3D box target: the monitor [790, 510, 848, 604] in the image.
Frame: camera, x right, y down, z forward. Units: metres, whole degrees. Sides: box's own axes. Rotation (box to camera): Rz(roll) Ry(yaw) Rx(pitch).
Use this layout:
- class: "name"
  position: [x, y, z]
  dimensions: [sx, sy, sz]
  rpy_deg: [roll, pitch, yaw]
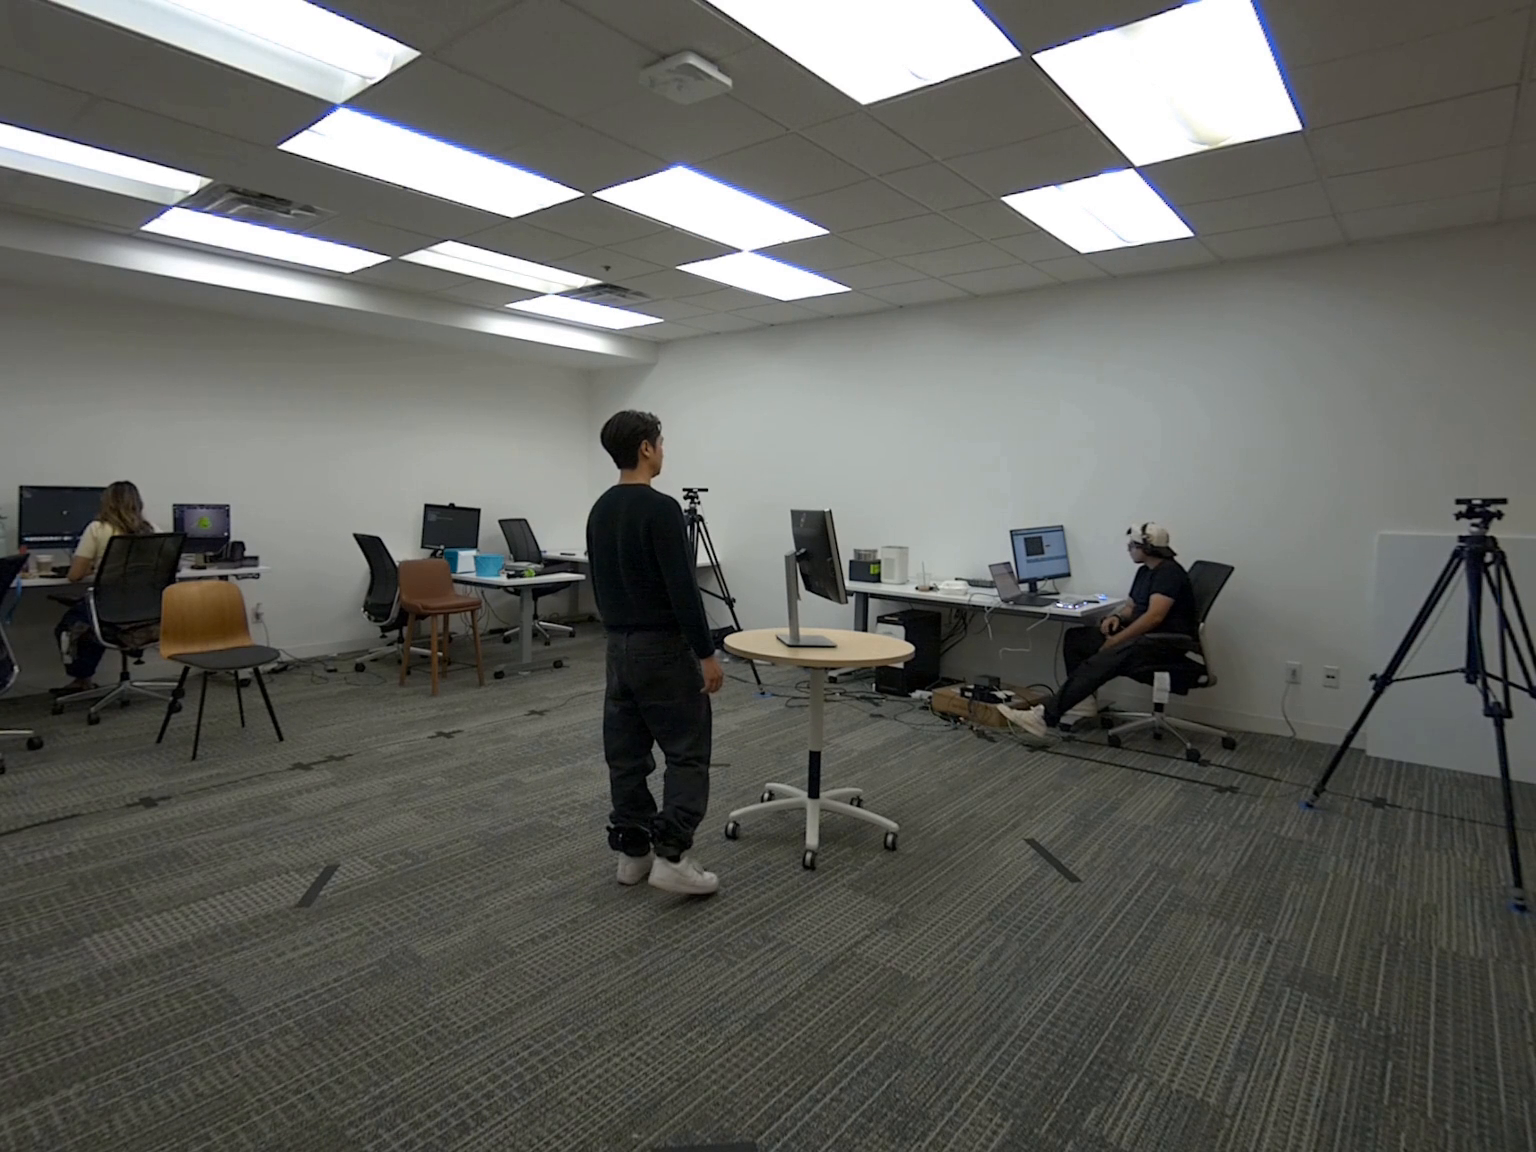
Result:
- class: "monitor"
  position: [0.156, 0.000, 3.434]
  dimensions: [0.172, 0.515, 0.538]
  rpy_deg: [5, 2, -13]
